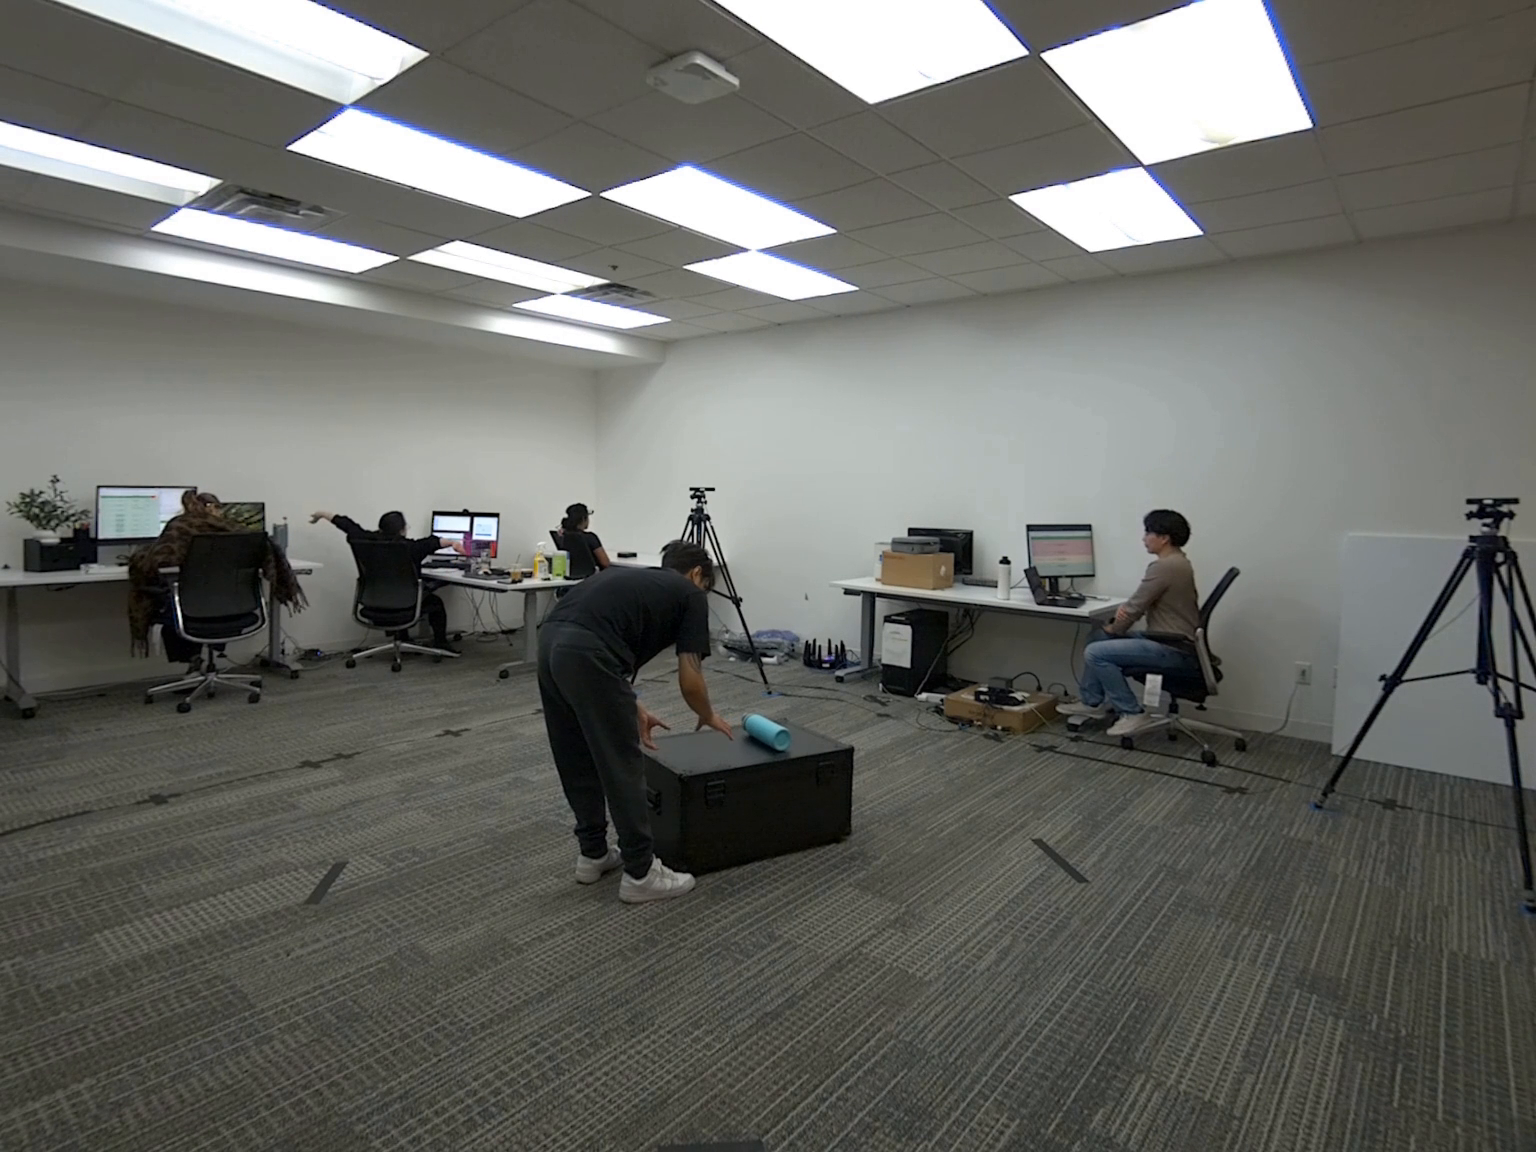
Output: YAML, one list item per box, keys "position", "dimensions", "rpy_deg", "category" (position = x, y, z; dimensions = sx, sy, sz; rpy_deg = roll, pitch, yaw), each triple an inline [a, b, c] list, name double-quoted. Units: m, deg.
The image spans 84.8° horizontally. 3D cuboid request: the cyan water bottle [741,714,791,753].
- position: [-0.029, 0.615, 3.425]
  dimensions: [0.090, 0.092, 0.292]
  rpy_deg: [-1, 6, -28]
  category: "cyan water bottle"
